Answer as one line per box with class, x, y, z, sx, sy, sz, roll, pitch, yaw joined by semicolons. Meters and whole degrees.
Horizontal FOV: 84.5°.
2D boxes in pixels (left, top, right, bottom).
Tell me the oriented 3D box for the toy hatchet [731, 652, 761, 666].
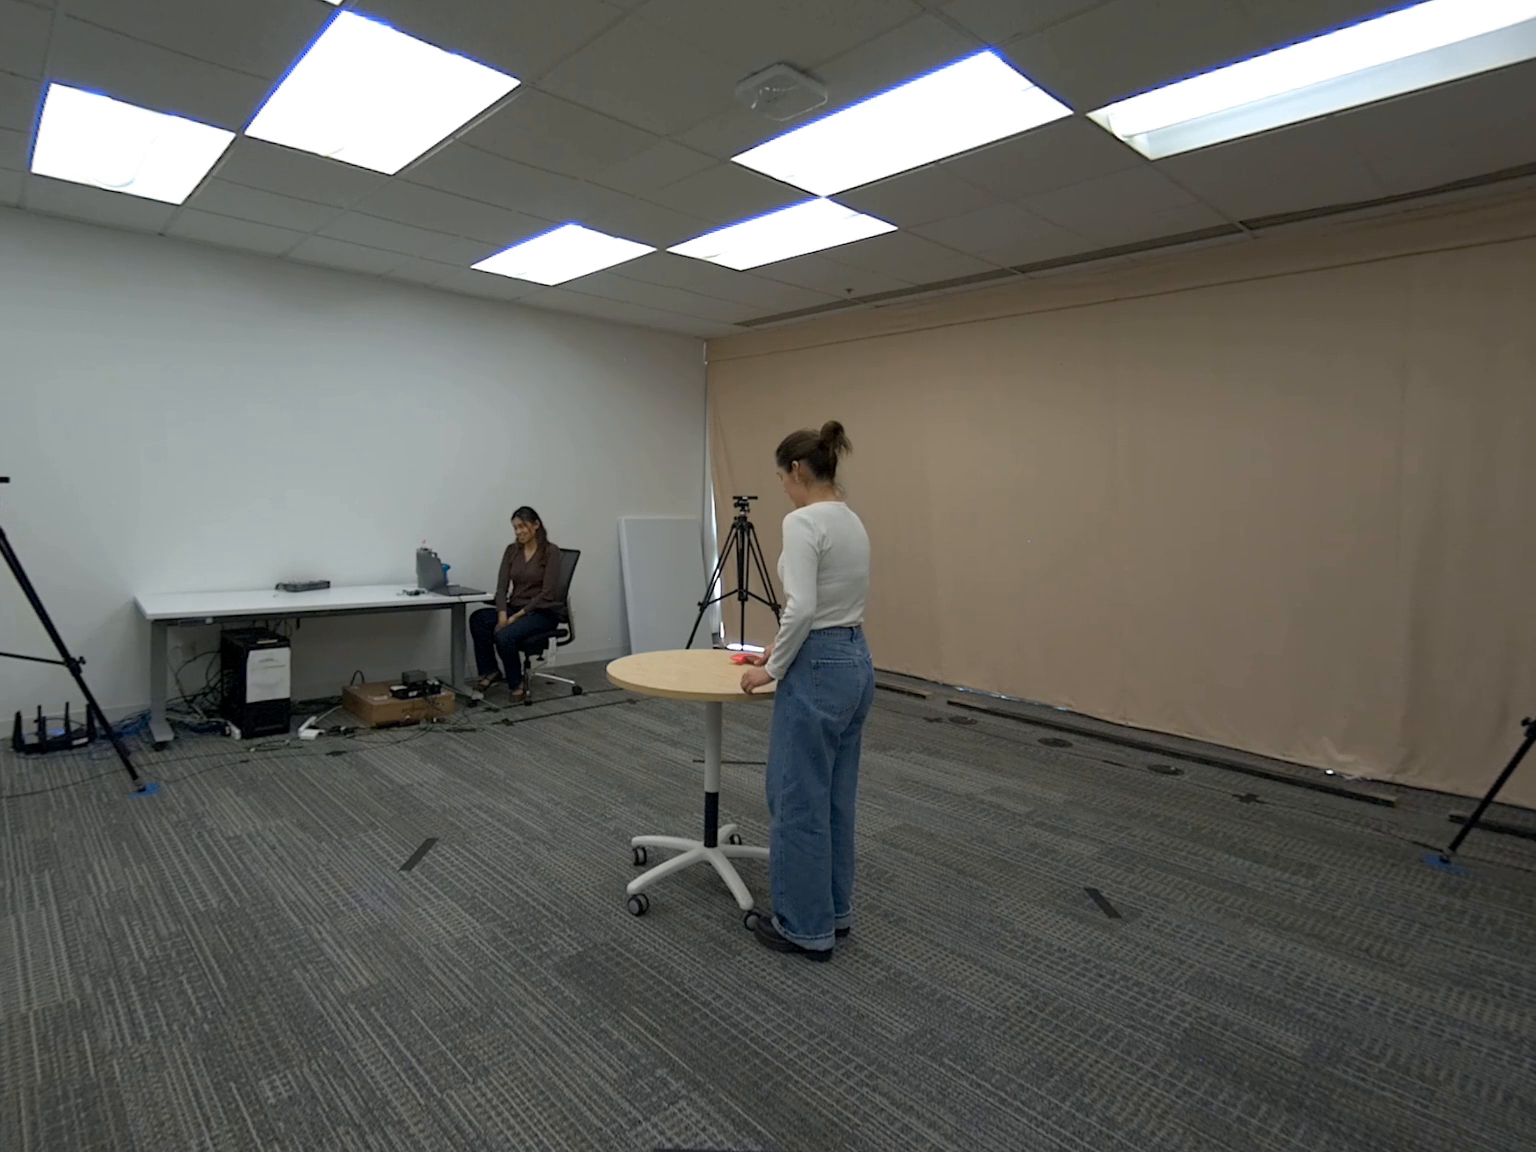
toy hatchet;-0.059;0.319;3.020;0.130;0.029;0.273;7;6;-10
